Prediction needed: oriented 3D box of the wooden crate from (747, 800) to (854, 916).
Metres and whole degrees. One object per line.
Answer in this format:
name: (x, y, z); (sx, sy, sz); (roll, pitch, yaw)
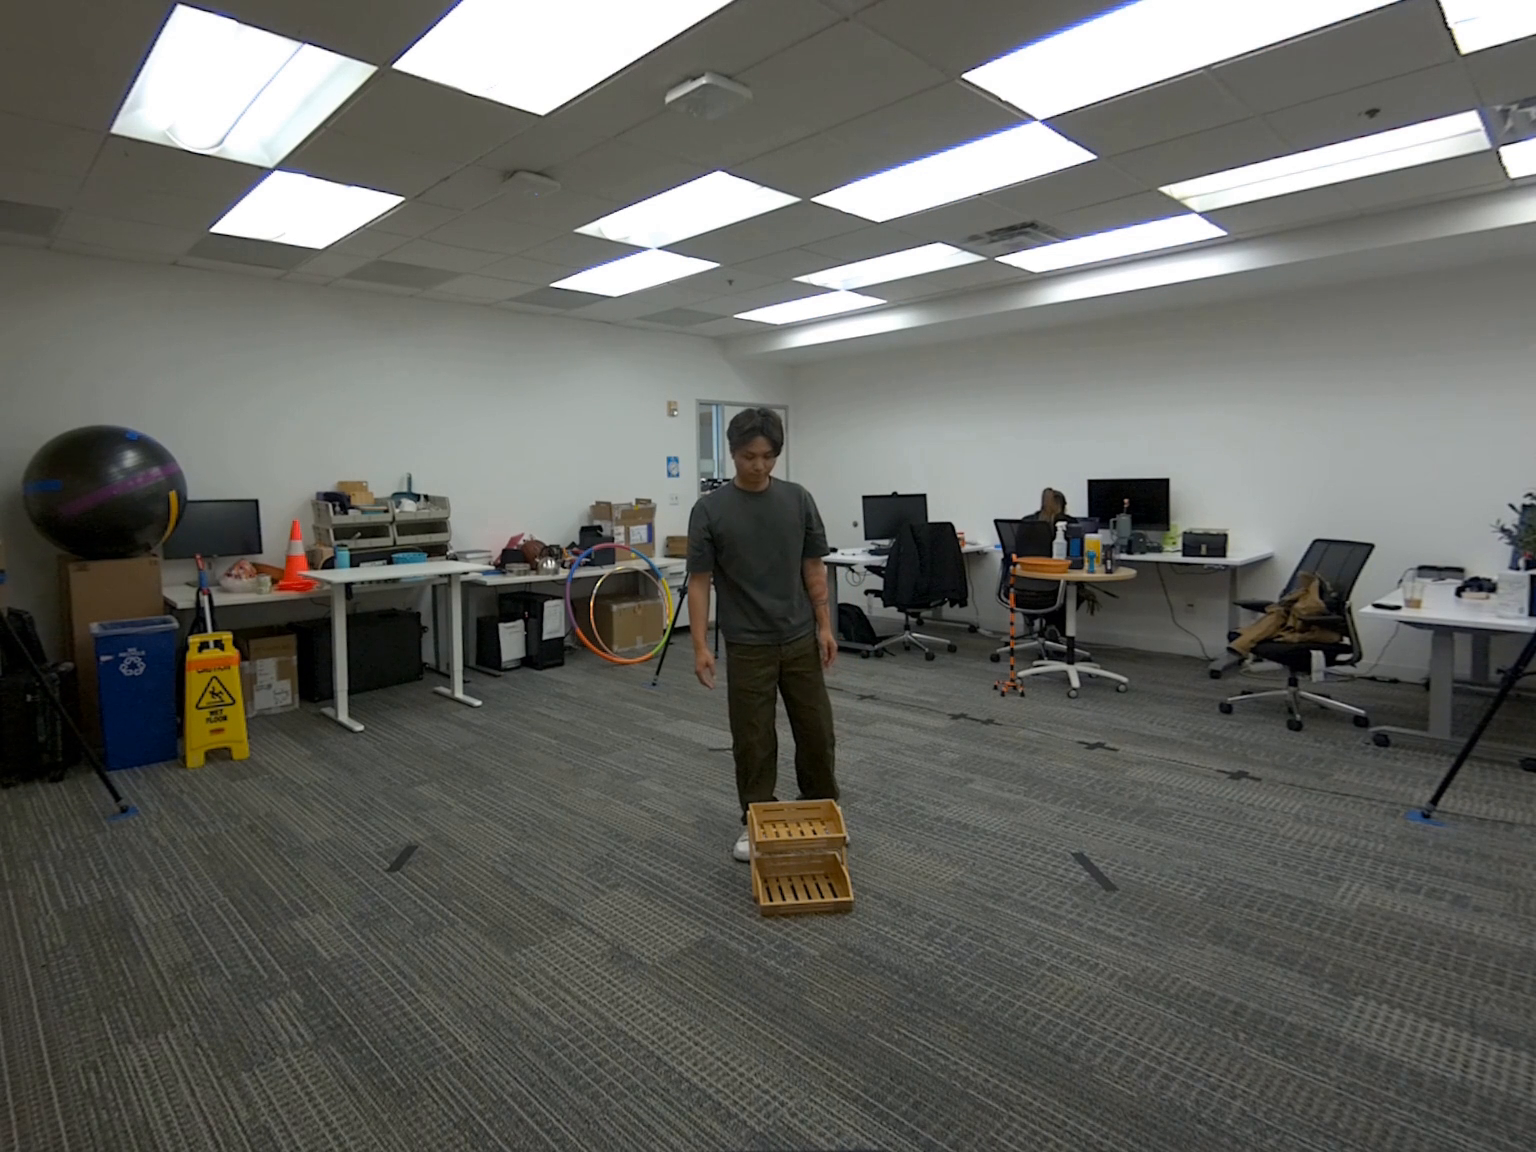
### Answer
wooden crate: (0.105, 0.939, 2.862); (0.322, 0.272, 0.305); (-2, 5, -7)
